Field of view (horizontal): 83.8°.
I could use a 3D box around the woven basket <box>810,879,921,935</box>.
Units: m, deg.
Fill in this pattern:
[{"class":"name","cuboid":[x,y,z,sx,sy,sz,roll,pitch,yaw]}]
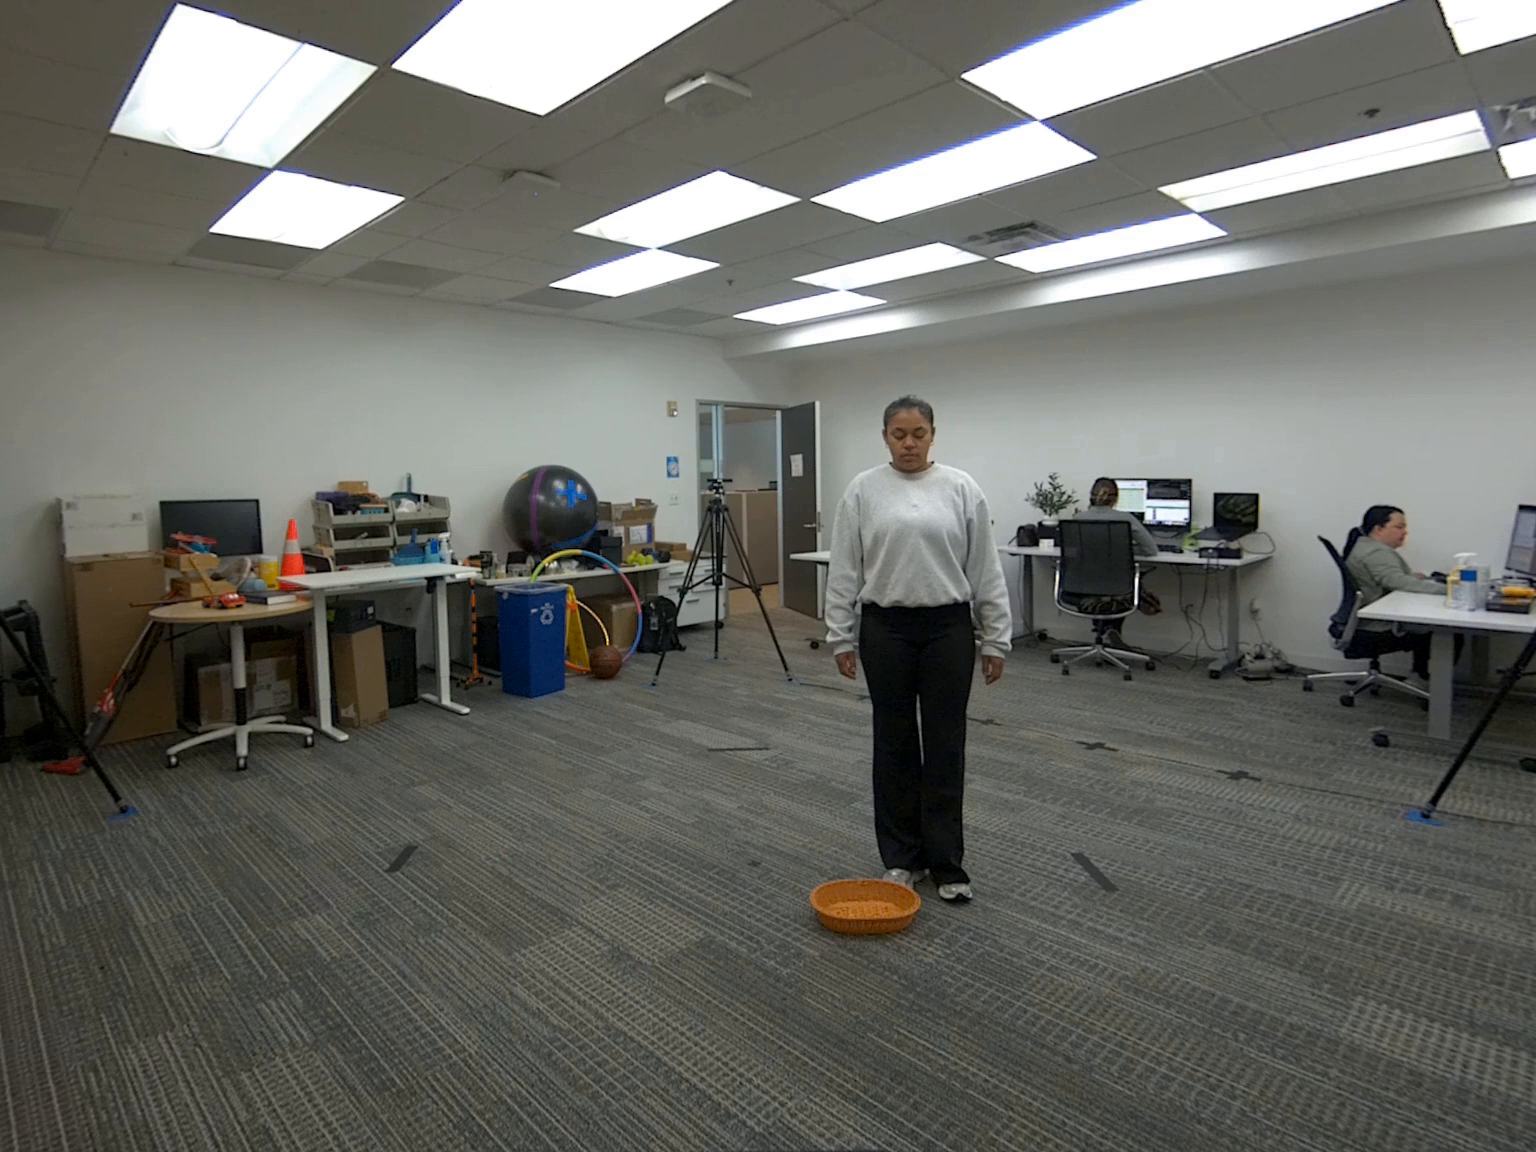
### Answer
[{"class":"woven basket","cuboid":[0.305,1.046,2.697,0.351,0.073,0.253,-1,5,1]}]
